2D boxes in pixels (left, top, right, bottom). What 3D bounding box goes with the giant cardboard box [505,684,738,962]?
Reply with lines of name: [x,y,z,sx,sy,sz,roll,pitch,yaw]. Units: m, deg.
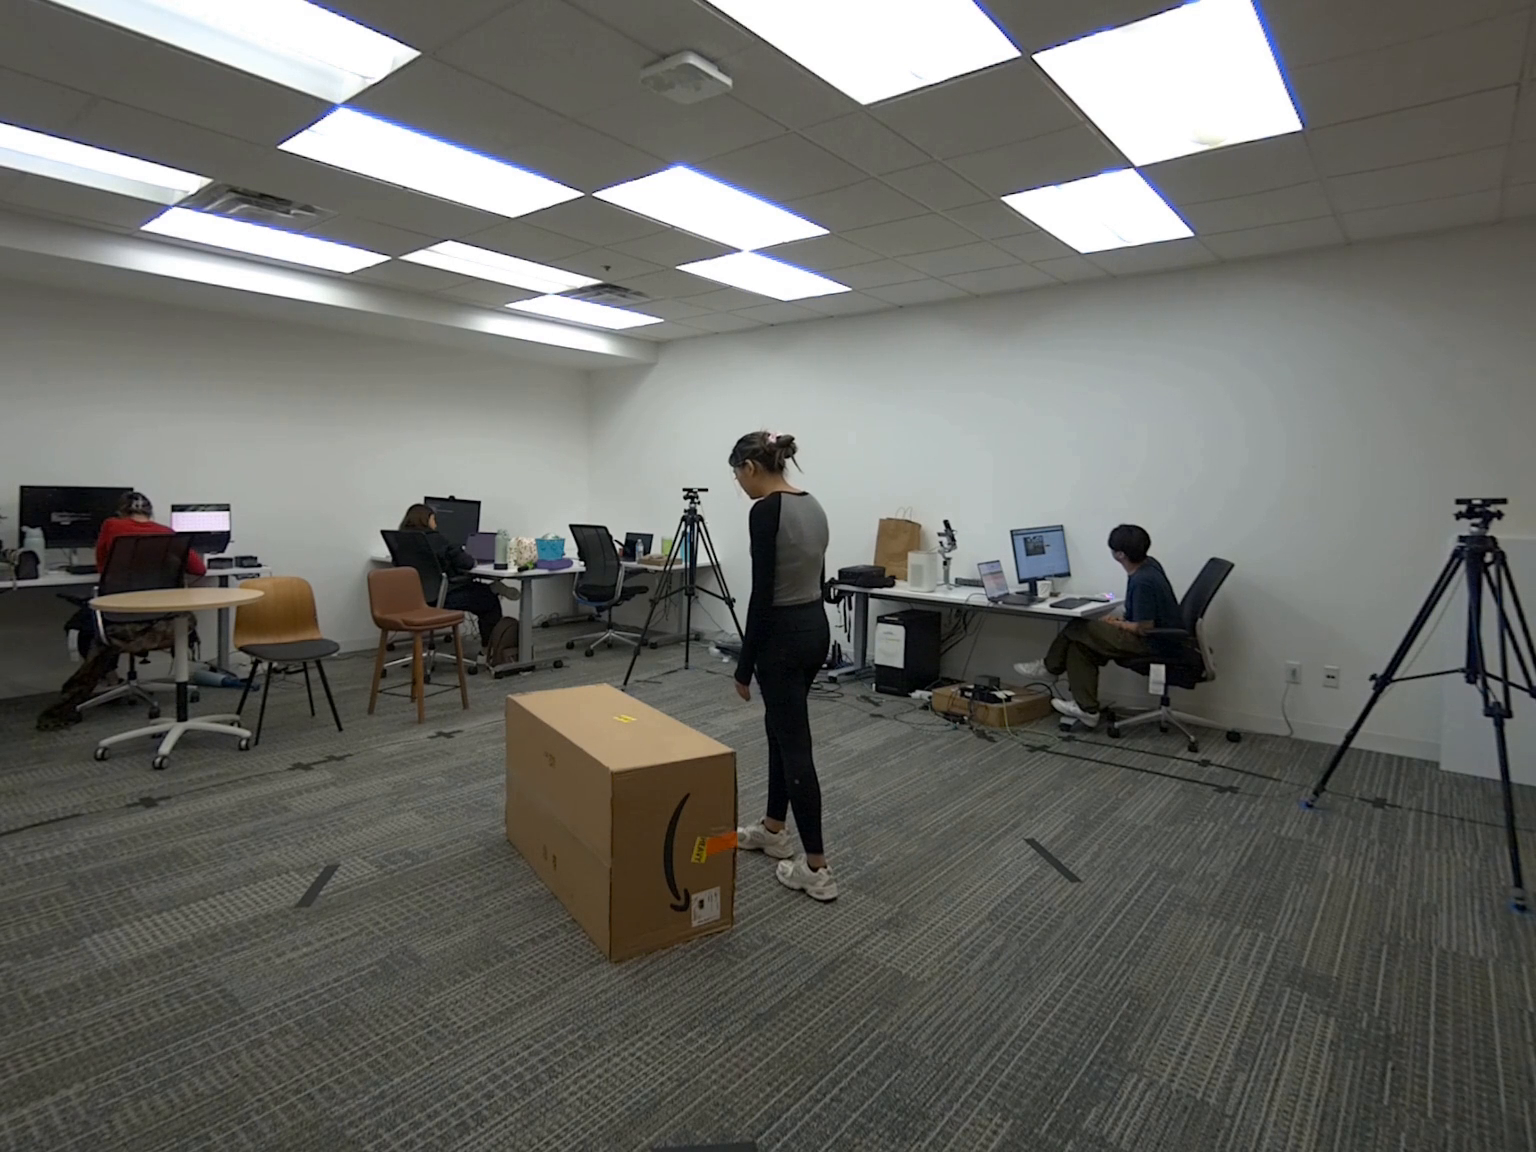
giant cardboard box: [-0.570,0.785,2.999,0.414,0.575,1.059,-1,6,-33]
